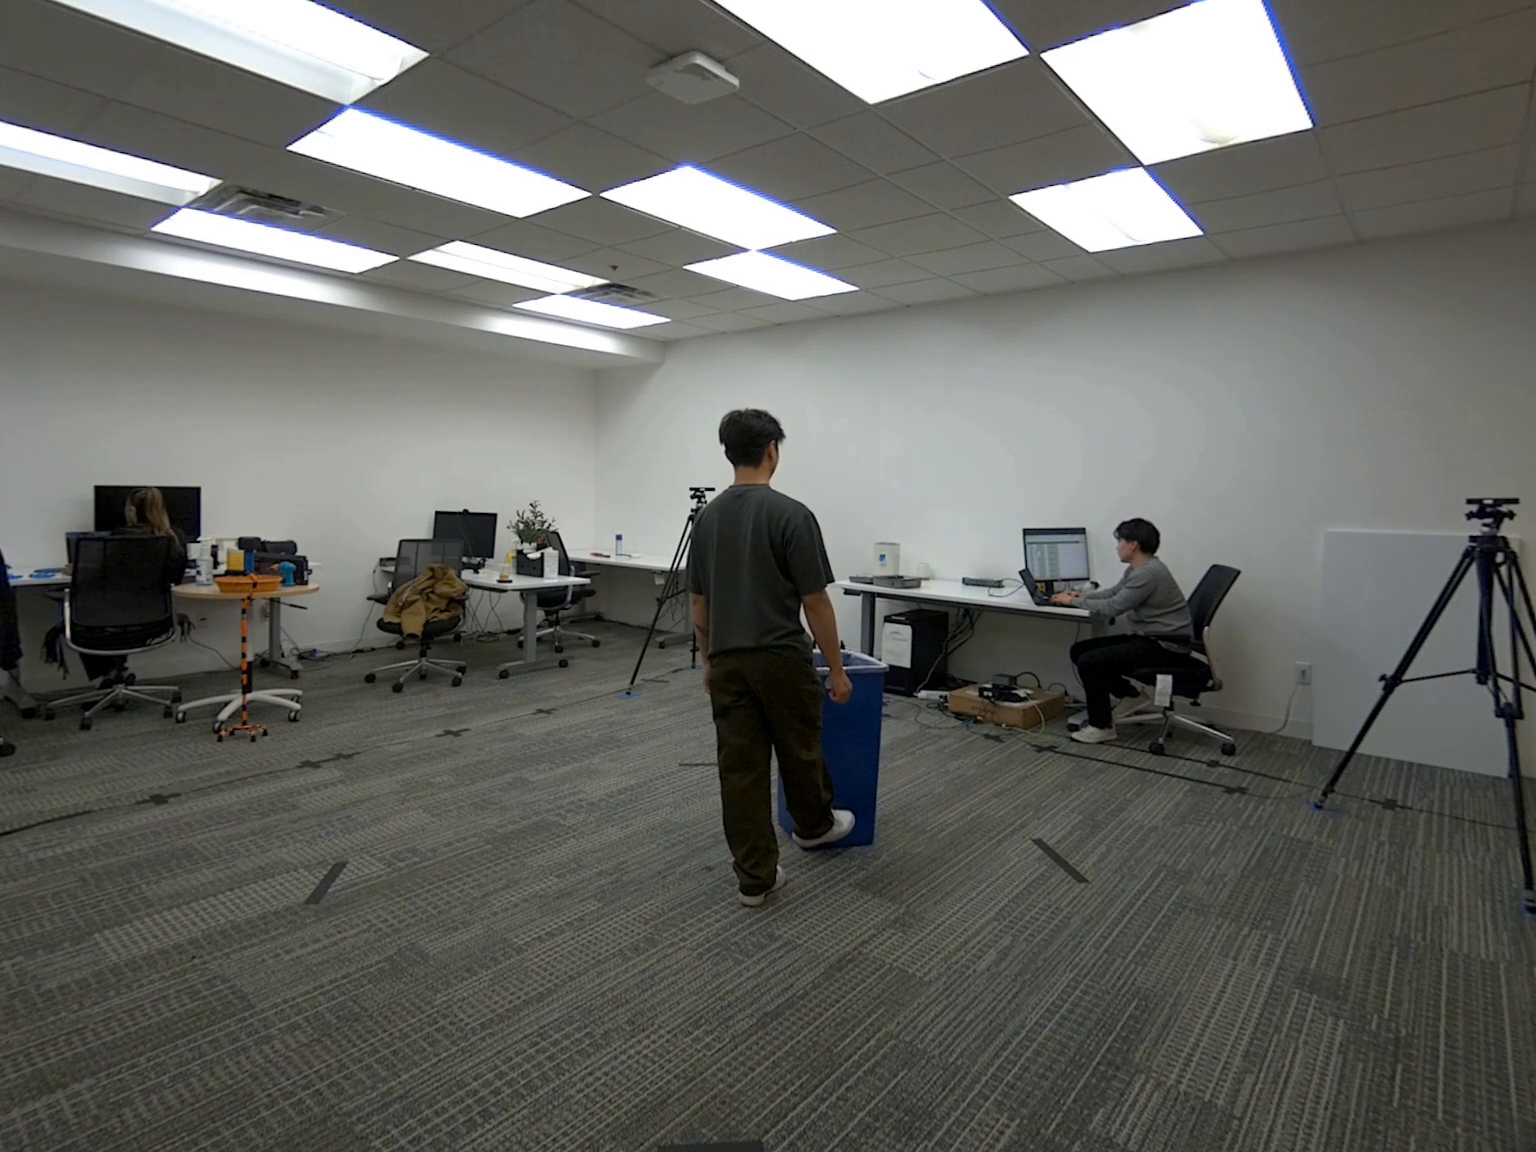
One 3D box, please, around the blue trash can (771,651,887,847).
[{"bbox_3d":[0.250,0.688,3.450,0.370,0.713,0.383,2,2,-11],"label":"blue trash can"}]
